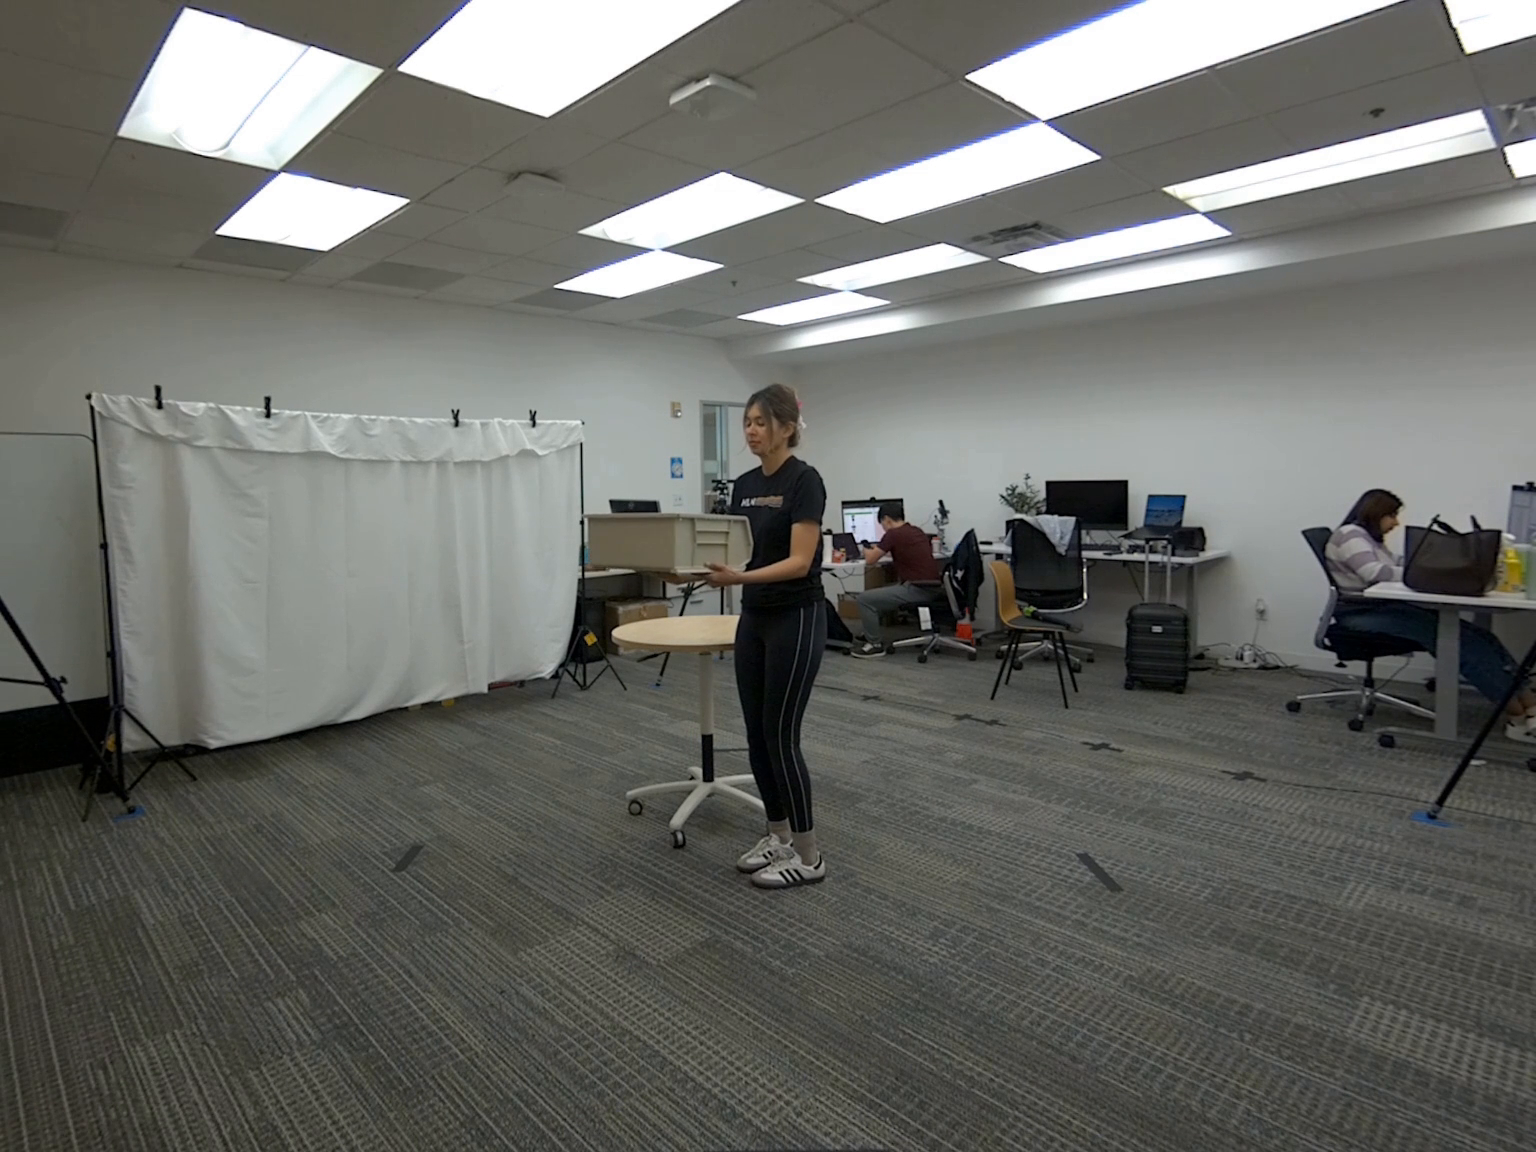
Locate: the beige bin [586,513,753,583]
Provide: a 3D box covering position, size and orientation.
[{"bbox_3d":[-0.329,-0.104,2.792,0.435,0.189,0.367,3,3,37],"label":"beige bin"}]
